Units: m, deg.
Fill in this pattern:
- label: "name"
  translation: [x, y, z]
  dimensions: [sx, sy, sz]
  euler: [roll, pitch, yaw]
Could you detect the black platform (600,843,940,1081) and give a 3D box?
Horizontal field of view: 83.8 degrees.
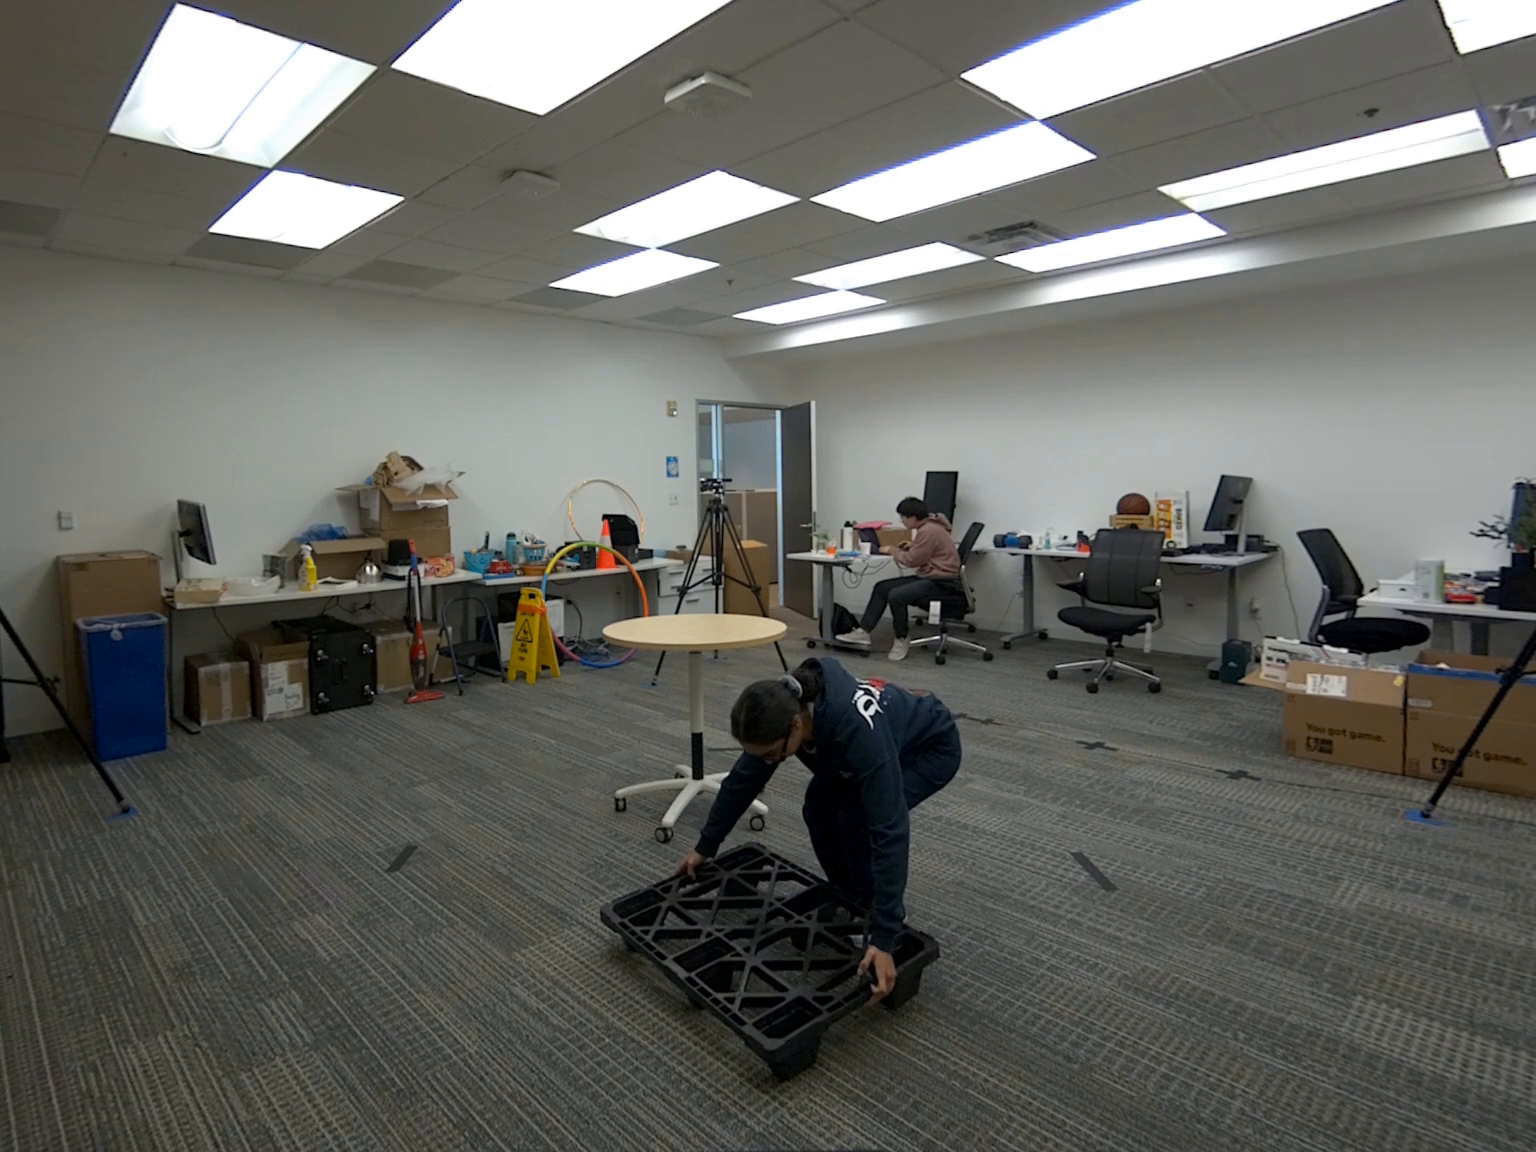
- label: "black platform"
  translation: [-0.014, 1.040, 2.407]
  dimensions: [0.591, 0.142, 0.831]
  euler: [-10, 12, -37]
